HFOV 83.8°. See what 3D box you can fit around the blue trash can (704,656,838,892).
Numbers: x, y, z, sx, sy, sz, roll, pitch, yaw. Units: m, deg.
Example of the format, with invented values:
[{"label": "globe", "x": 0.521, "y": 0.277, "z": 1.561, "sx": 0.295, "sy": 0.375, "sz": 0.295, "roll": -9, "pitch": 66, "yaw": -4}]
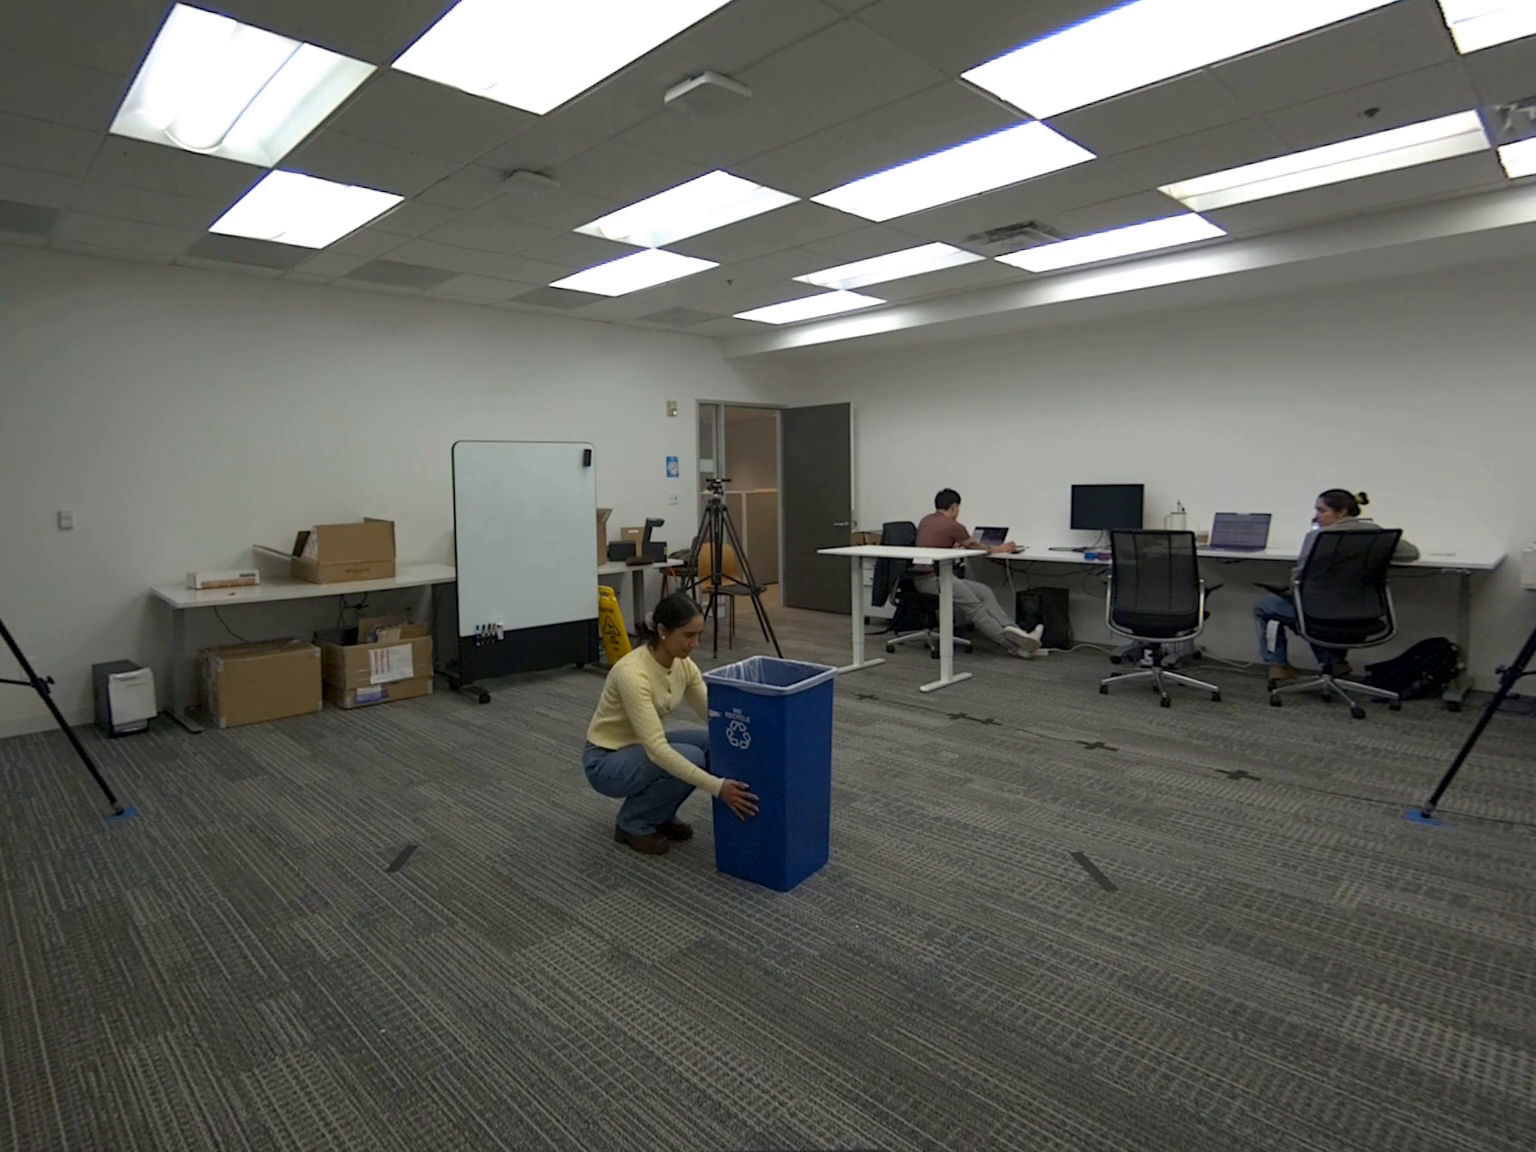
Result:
[{"label": "blue trash can", "x": 0.019, "y": 0.689, "z": 3.054, "sx": 0.385, "sy": 0.711, "sz": 0.369, "roll": 2, "pitch": 5, "yaw": 35}]
